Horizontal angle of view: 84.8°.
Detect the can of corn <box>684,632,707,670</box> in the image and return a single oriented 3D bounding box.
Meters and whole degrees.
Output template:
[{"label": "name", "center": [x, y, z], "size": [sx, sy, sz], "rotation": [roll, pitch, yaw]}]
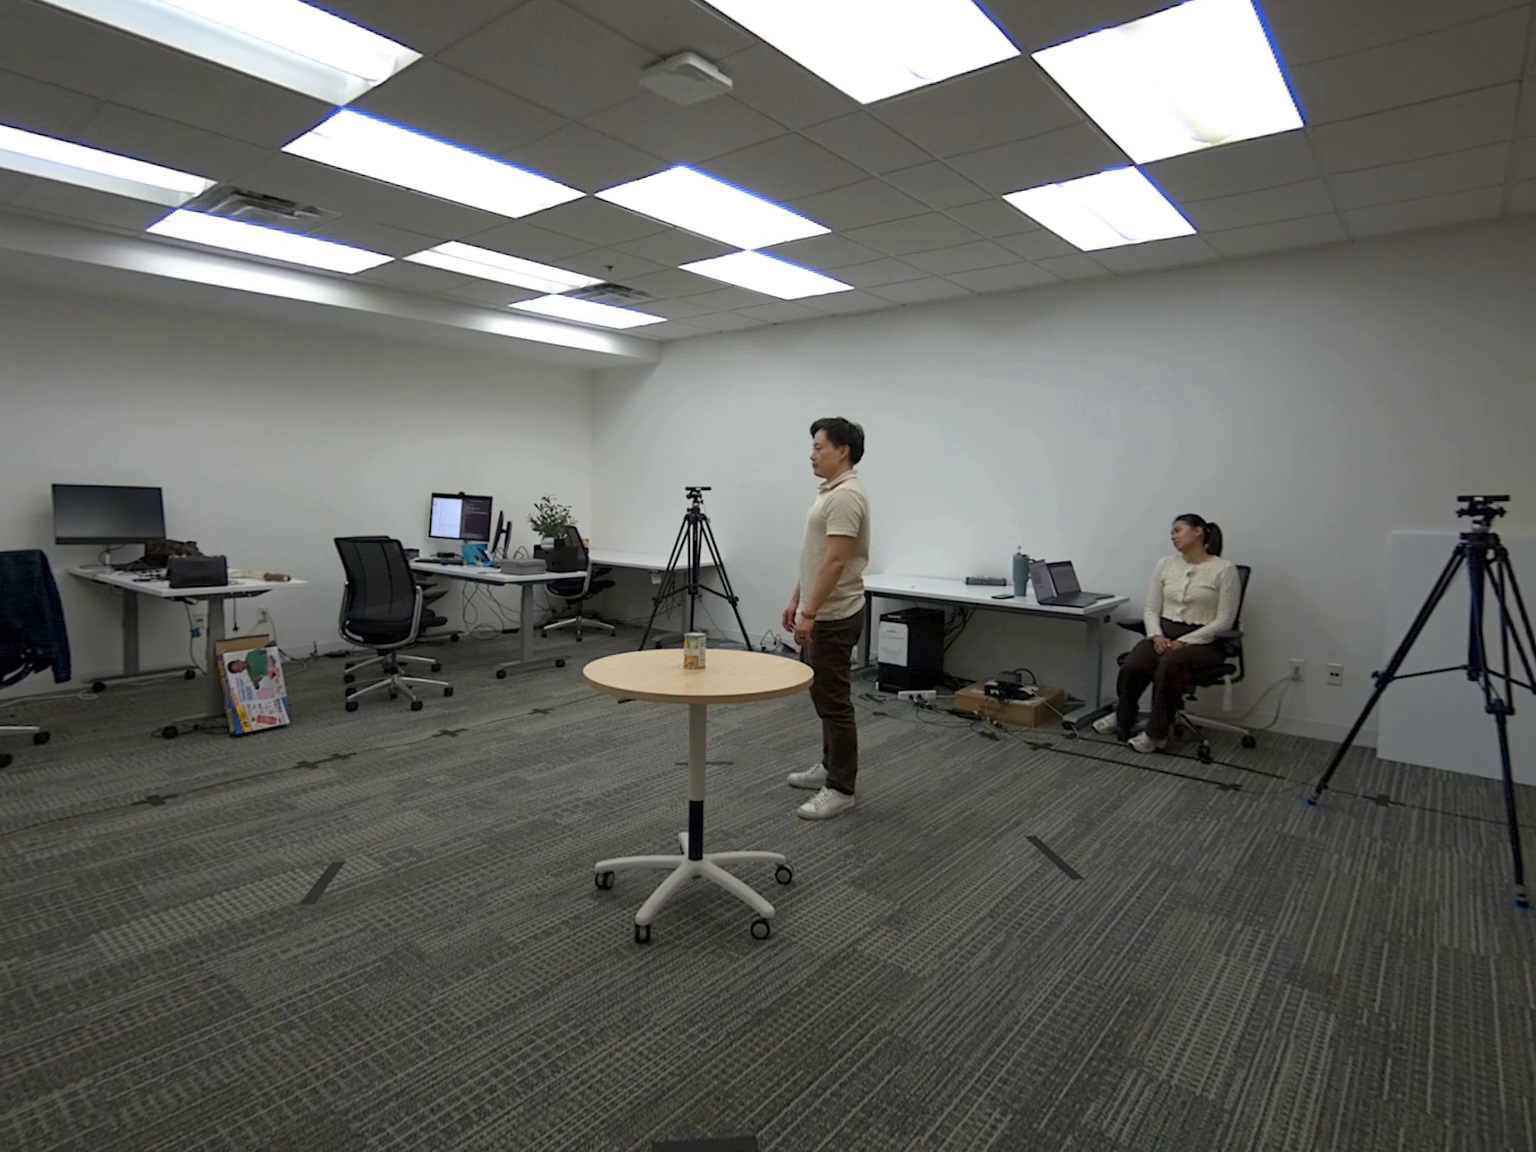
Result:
[{"label": "can of corn", "center": [-0.257, 0.247, 2.864], "size": [0.074, 0.110, 0.074], "rotation": [-2, 5, -2]}]
